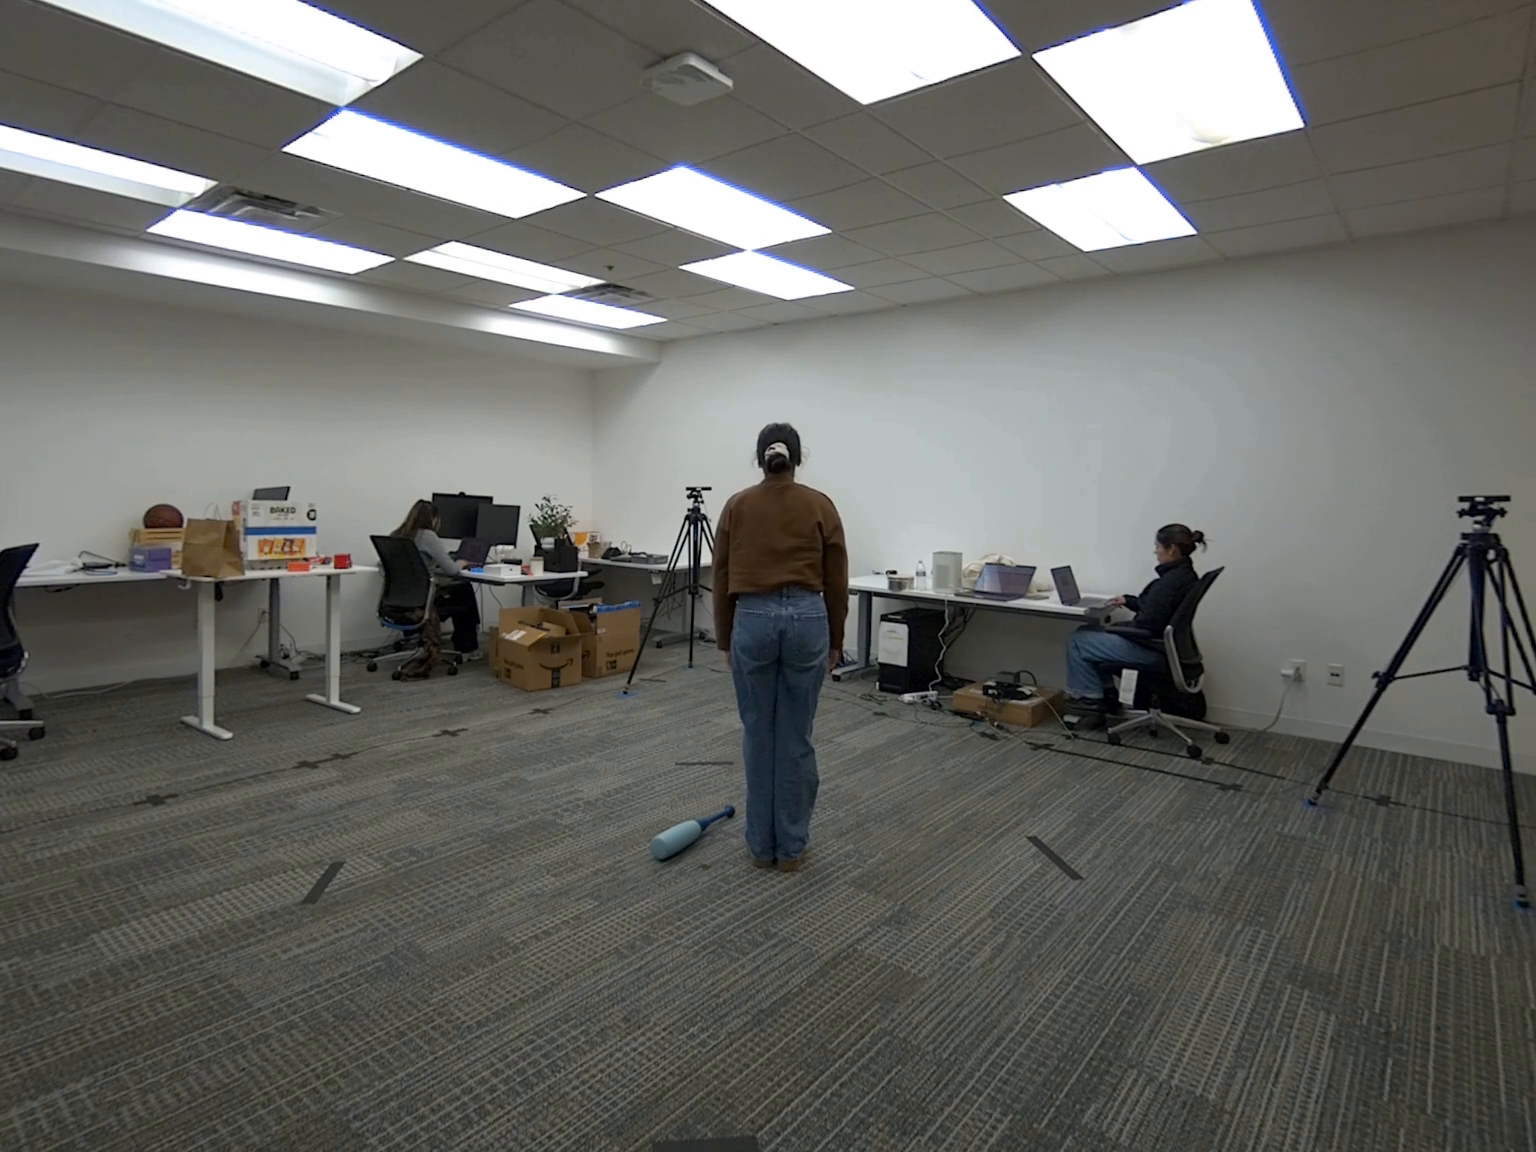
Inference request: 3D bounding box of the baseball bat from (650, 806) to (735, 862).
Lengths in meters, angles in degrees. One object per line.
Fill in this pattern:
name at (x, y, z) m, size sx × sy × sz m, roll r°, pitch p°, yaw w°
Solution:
baseball bat at (-0.297, 1.001, 3.384) m, size 0.091 × 0.089 × 0.528 m, roll 3°, pitch 3°, yaw 28°
